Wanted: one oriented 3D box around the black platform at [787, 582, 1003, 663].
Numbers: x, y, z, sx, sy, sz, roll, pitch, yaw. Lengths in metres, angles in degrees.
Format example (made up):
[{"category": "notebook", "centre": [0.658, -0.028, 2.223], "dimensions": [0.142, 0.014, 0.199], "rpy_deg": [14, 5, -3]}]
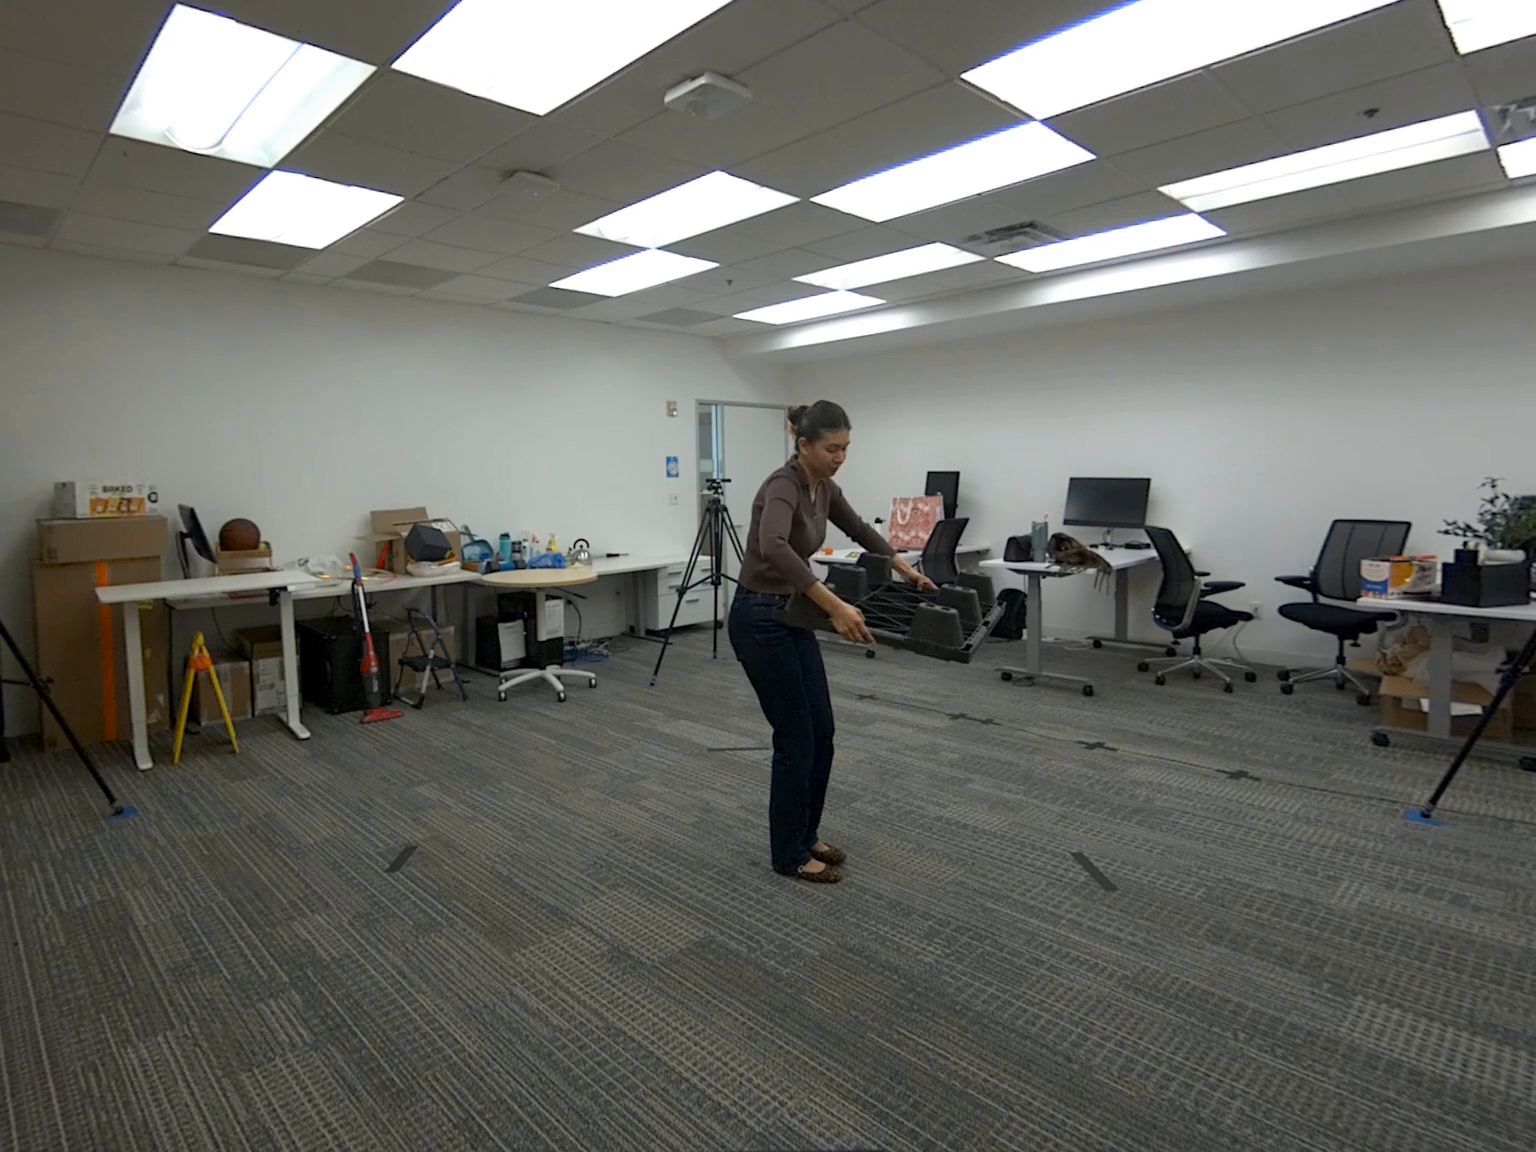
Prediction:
[{"category": "black platform", "centre": [0.436, 0.071, 2.835], "dimensions": [0.620, 0.142, 0.793], "rpy_deg": [11, 13, 22]}]
